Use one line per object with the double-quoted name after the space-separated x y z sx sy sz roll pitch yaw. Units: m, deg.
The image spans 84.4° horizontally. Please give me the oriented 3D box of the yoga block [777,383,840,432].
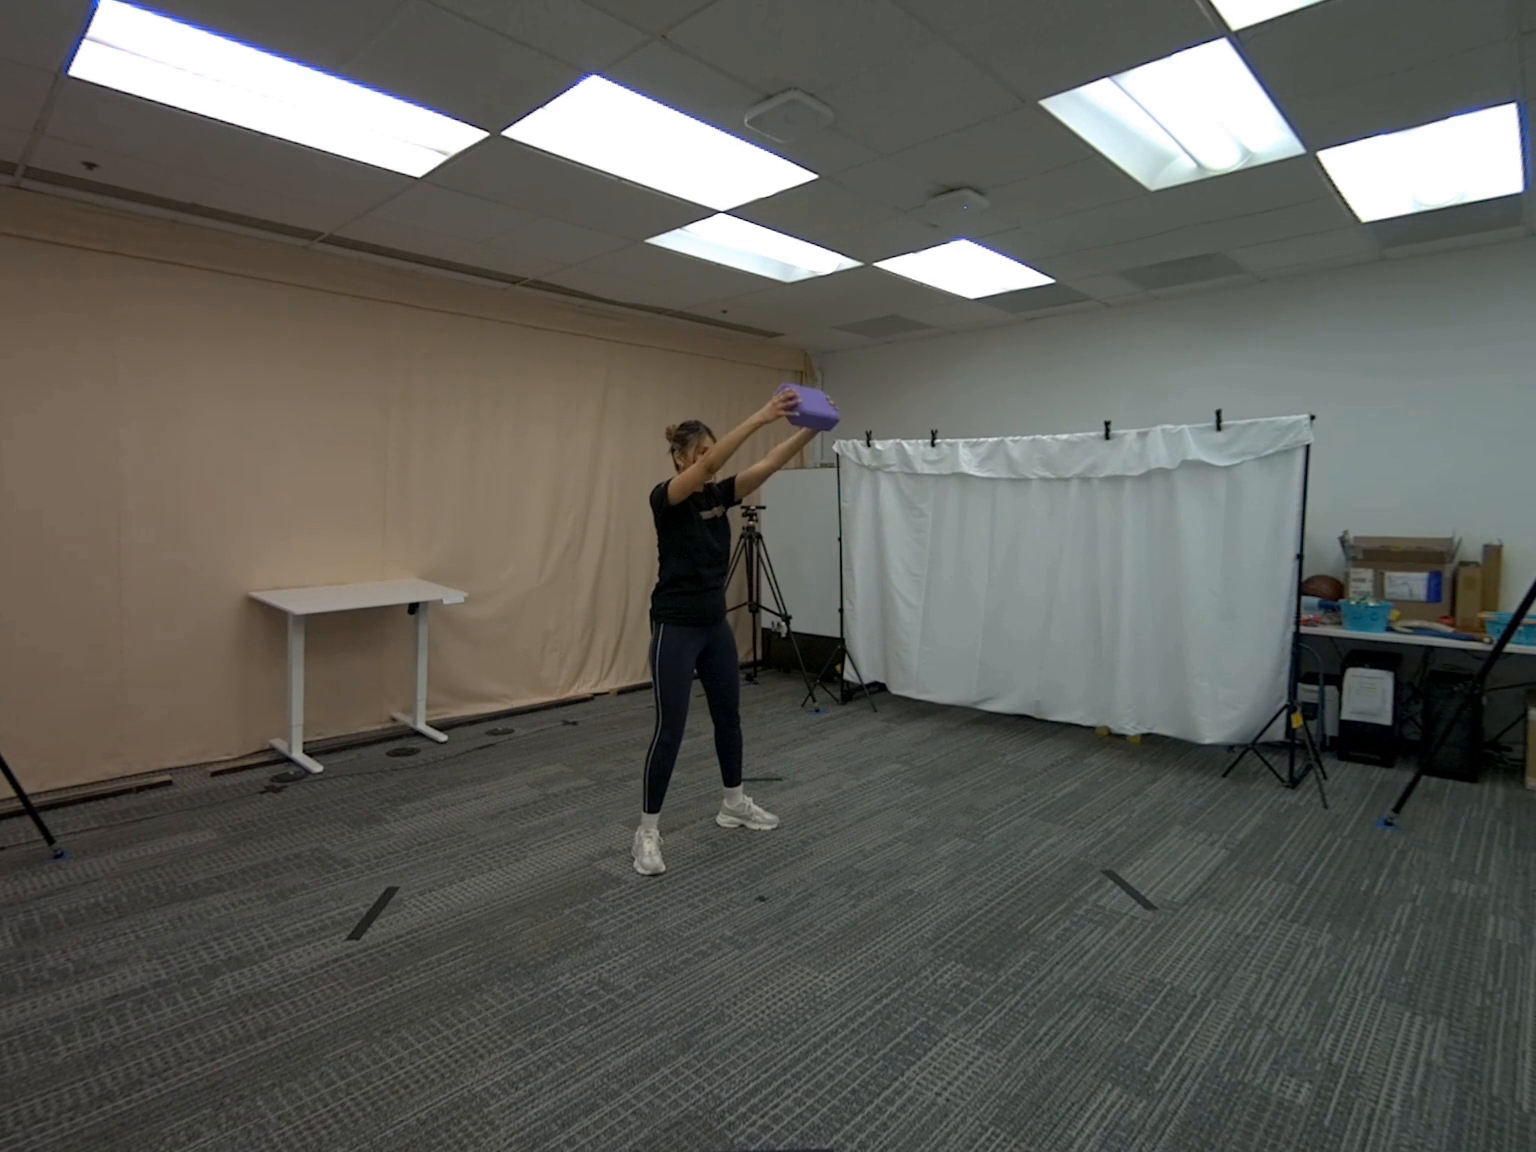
0.143 -0.593 2.998 0.222 0.153 0.077 0 -39 -49 "yoga block"
